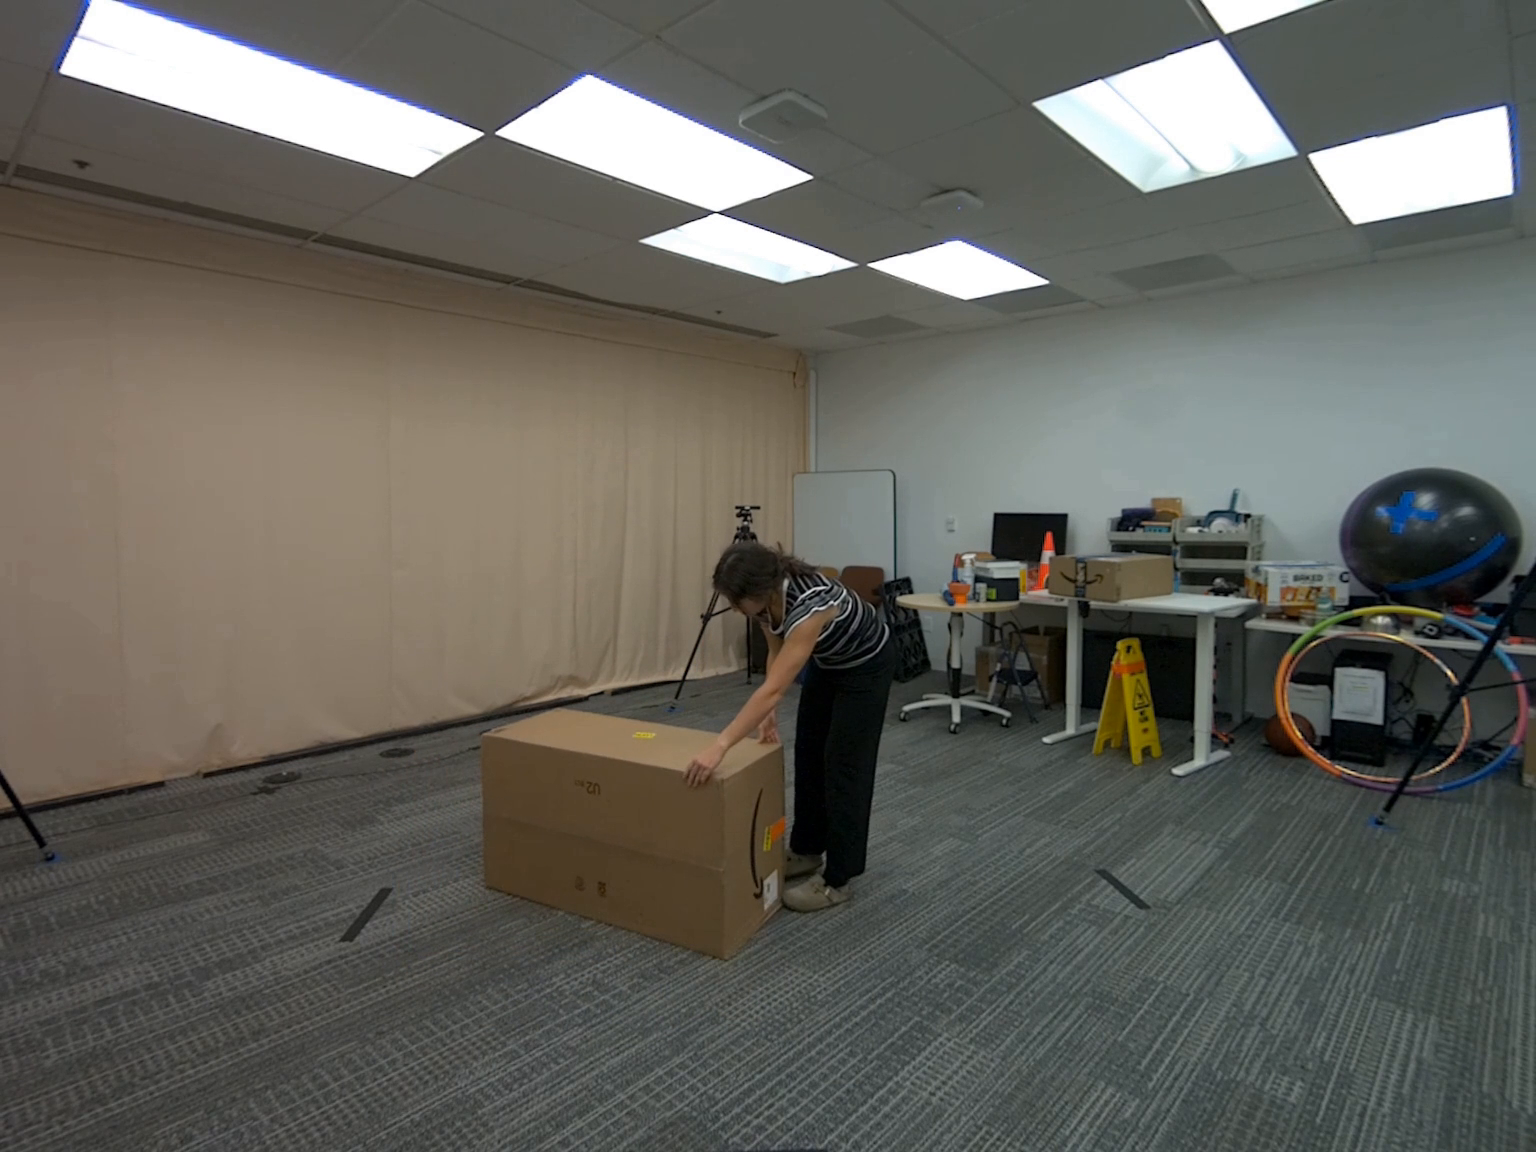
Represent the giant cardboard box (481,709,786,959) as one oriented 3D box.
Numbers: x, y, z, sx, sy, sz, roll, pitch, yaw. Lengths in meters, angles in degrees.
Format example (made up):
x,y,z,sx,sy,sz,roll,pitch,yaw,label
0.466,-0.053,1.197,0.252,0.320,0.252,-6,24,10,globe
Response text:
x,y,z,sx,sy,sz,roll,pitch,yaw,label
-0.497,0.857,2.996,1.055,0.576,0.415,2,5,30,giant cardboard box
